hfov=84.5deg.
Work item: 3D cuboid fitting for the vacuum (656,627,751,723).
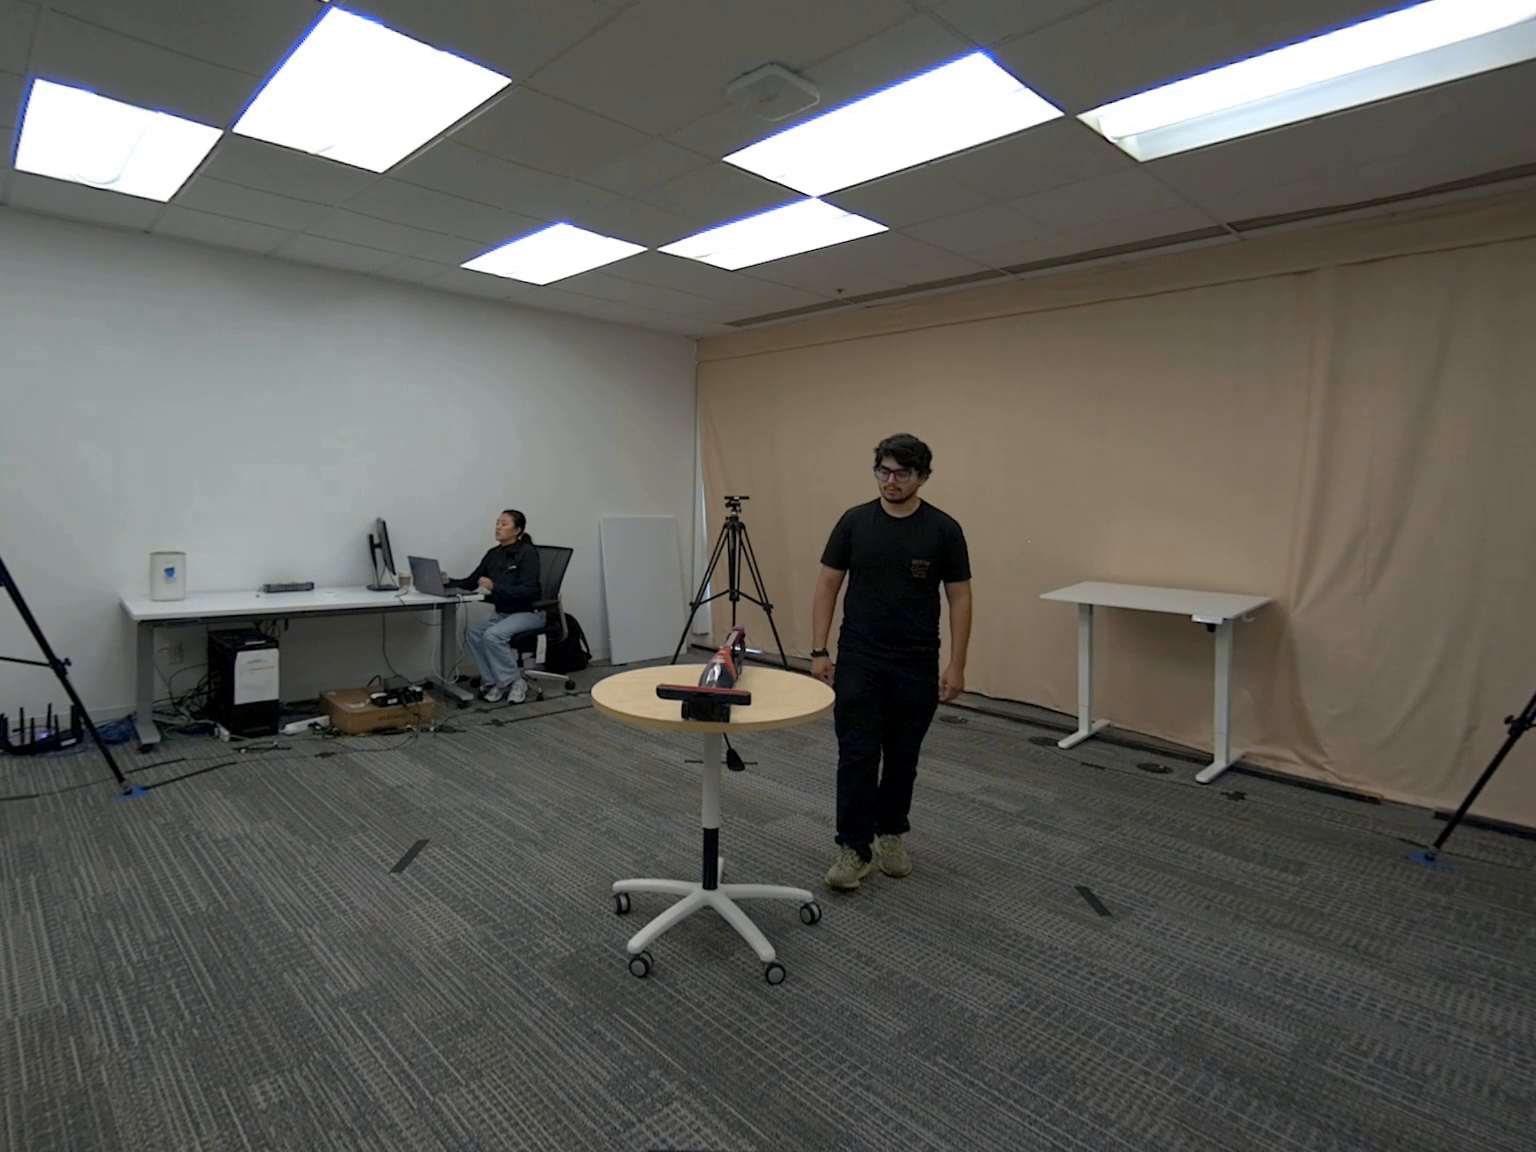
[{"bbox_3d":[-0.142,0.292,2.770,0.253,0.143,1.049,0,6,4],"label":"vacuum"}]
